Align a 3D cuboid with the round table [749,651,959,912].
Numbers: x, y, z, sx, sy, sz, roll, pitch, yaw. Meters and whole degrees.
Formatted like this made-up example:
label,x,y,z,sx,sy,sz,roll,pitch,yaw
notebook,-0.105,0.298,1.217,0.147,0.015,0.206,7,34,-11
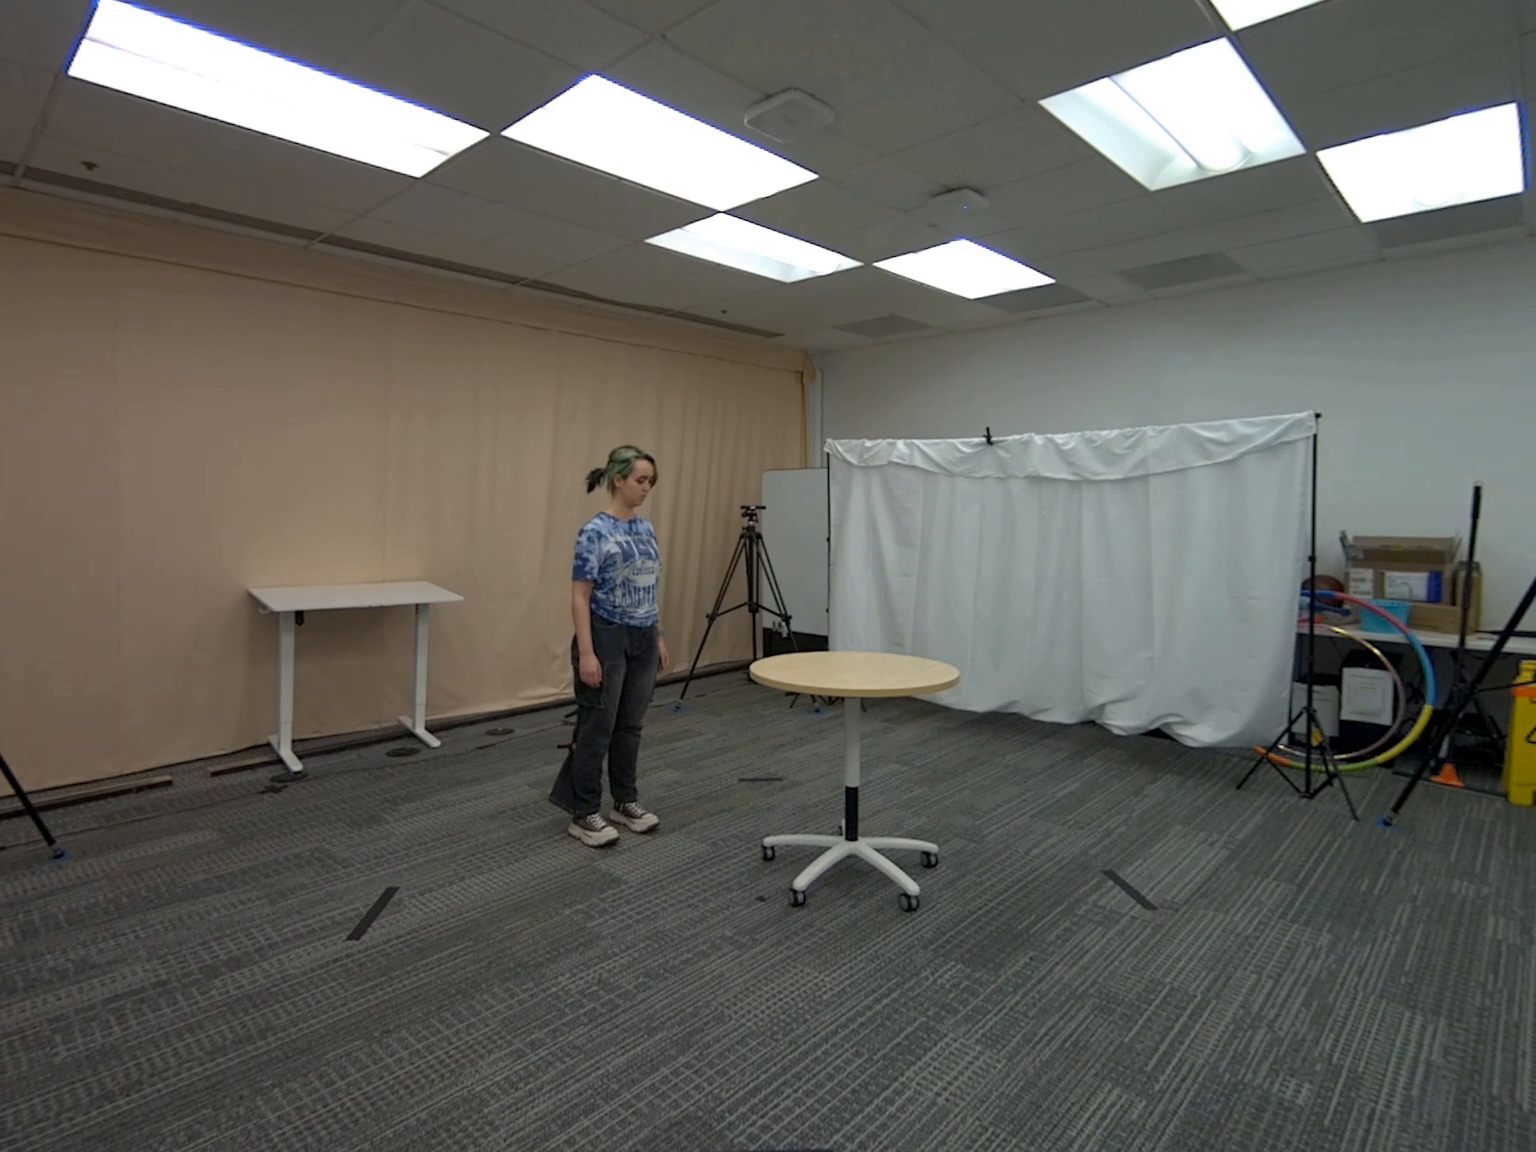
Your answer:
label,x,y,z,sx,sy,sz,roll,pitch,yaw
round table,0.311,0.739,3.145,0.763,0.792,0.766,0,3,-2
